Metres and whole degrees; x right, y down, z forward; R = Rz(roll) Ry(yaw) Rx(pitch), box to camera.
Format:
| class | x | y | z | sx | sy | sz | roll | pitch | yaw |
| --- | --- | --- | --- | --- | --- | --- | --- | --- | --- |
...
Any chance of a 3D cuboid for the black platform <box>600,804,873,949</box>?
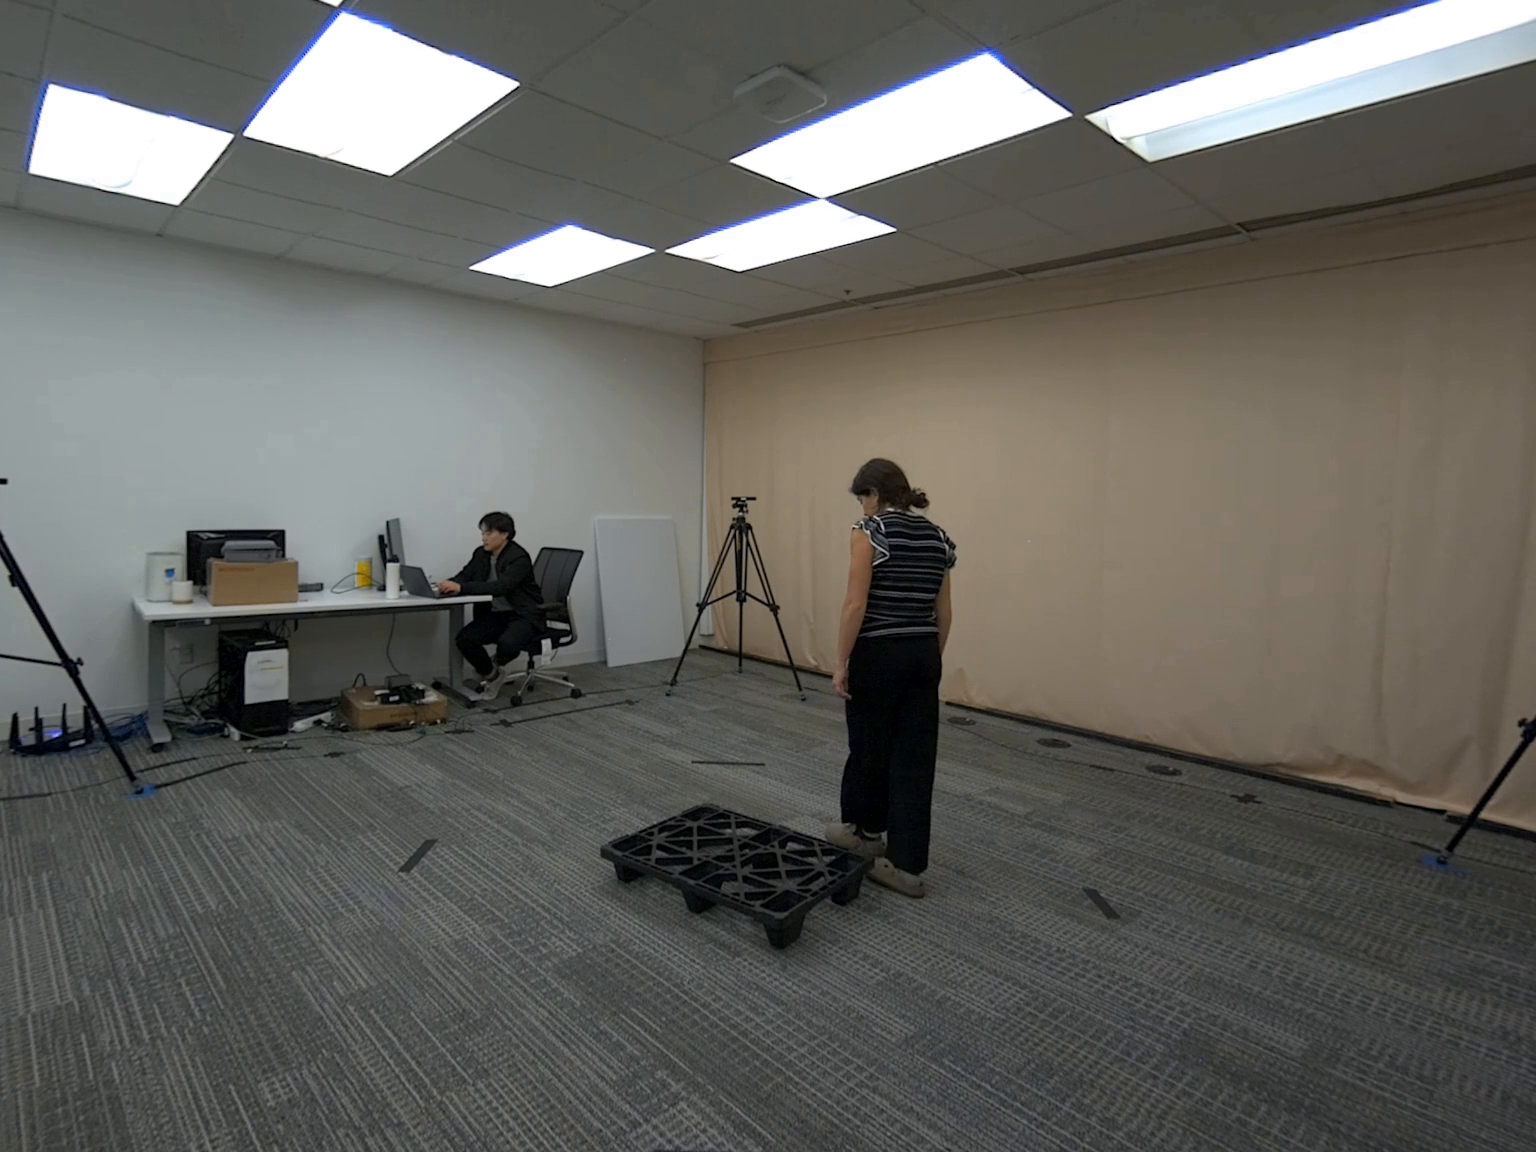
| class | x | y | z | sx | sy | sz | roll | pitch | yaw |
| --- | --- | --- | --- | --- | --- | --- | --- | --- | --- |
| black platform | -0.120 | 1.049 | 2.996 | 0.825 | 0.143 | 0.592 | 5 | 7 | 37 |
